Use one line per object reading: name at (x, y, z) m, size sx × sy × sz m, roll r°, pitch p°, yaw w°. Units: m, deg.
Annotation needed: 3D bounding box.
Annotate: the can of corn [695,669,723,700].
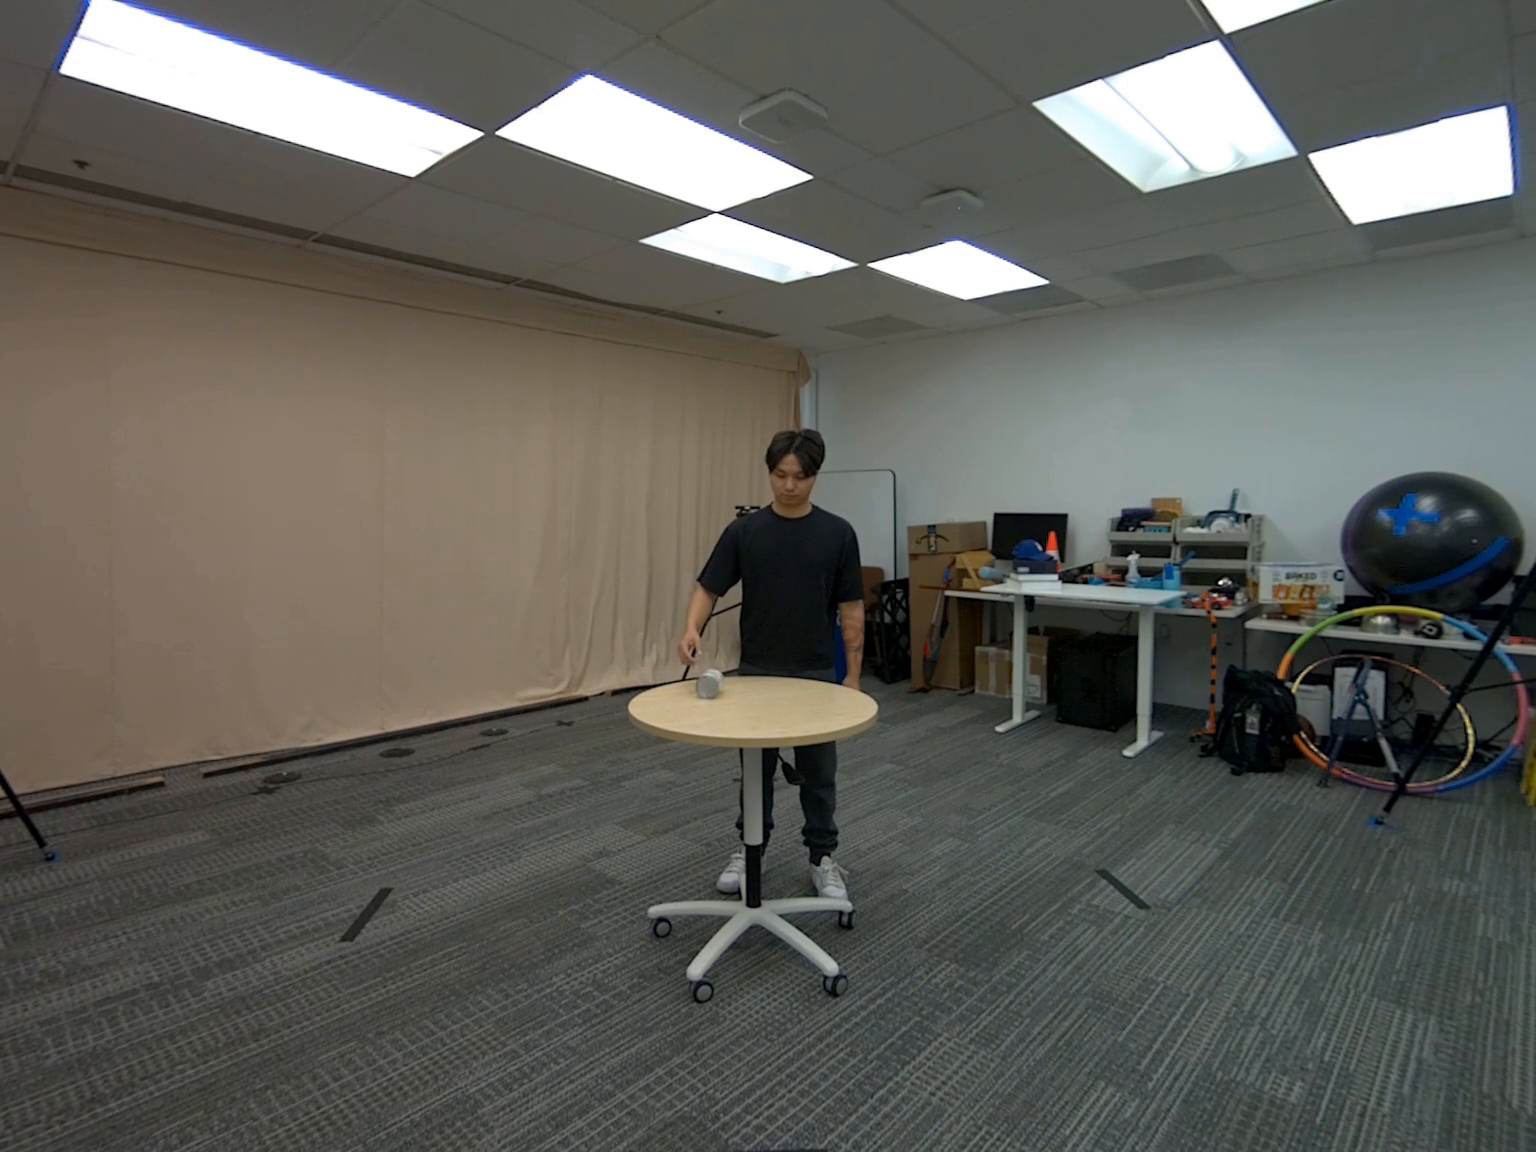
can of corn at (-0.185, 0.348, 2.708) m, size 0.075 × 0.074 × 0.110 m, roll 0°, pitch 3°, yaw 5°
